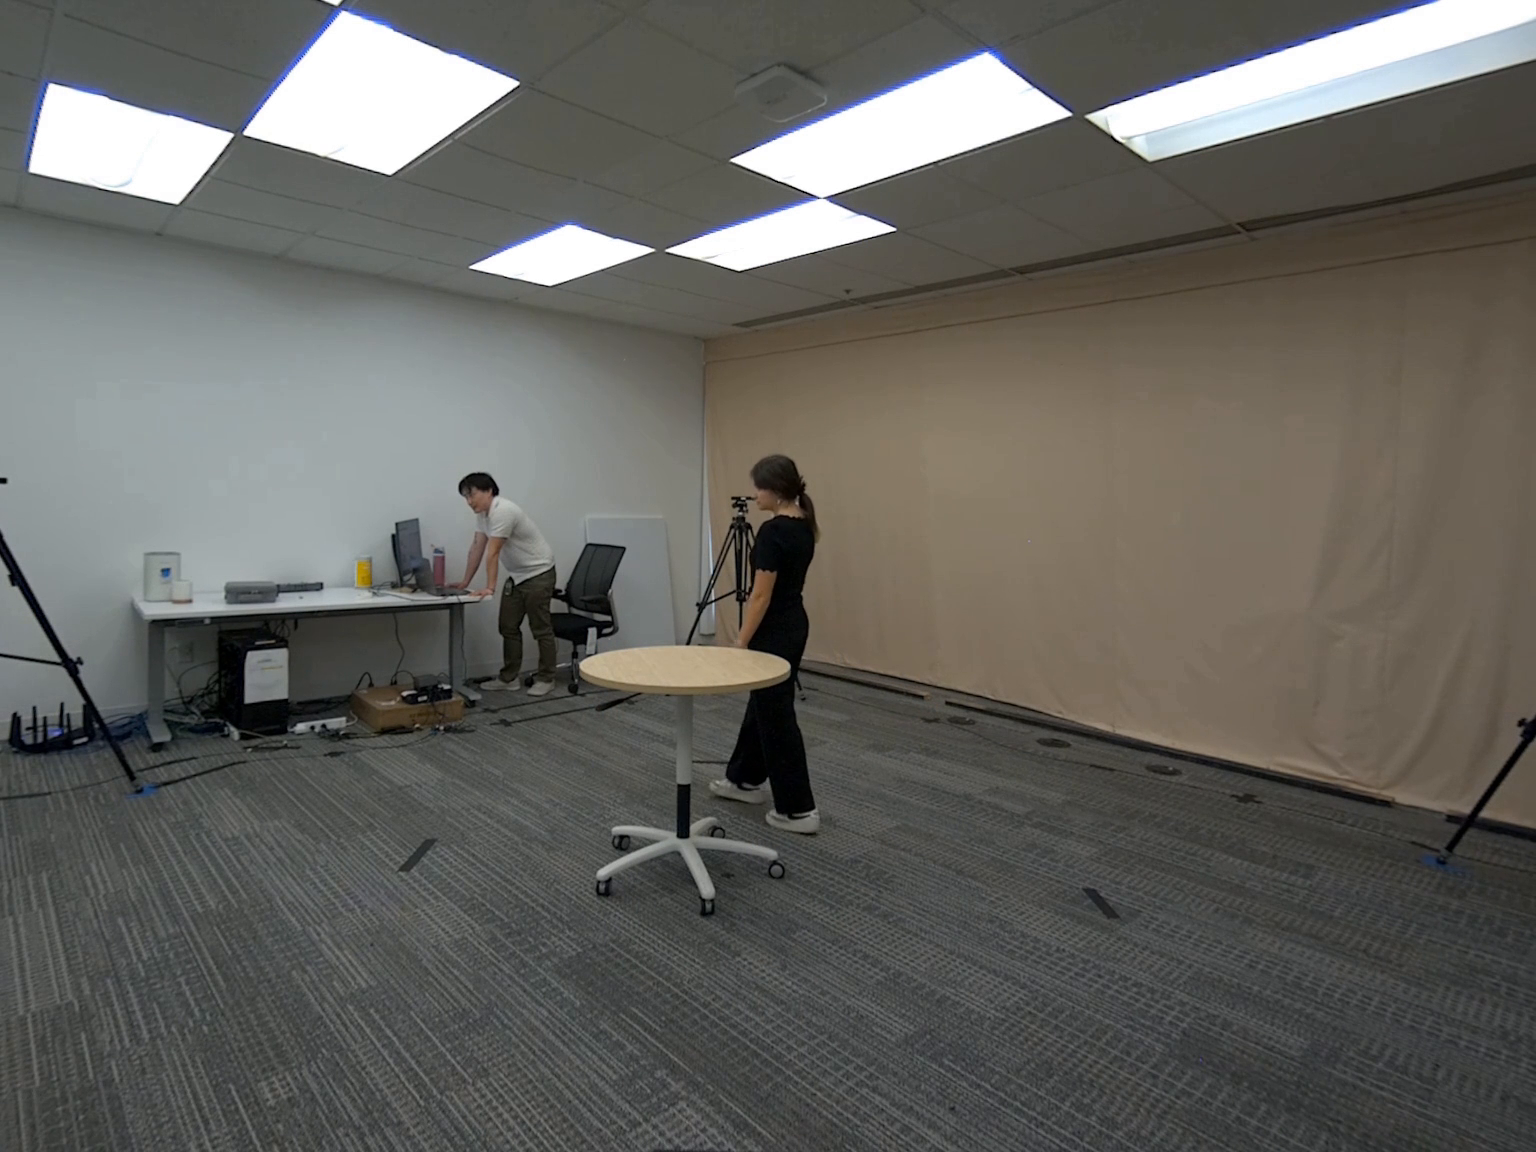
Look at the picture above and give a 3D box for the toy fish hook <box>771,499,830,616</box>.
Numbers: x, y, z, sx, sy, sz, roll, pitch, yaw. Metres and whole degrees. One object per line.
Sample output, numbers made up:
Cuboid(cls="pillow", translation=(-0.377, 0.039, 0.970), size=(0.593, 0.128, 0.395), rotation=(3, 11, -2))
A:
Cuboid(cls="toy fish hook", translation=(0.141, -0.083, 3.757), size=(0.229, 0.502, 0.048), rotation=(0, 11, 26))
